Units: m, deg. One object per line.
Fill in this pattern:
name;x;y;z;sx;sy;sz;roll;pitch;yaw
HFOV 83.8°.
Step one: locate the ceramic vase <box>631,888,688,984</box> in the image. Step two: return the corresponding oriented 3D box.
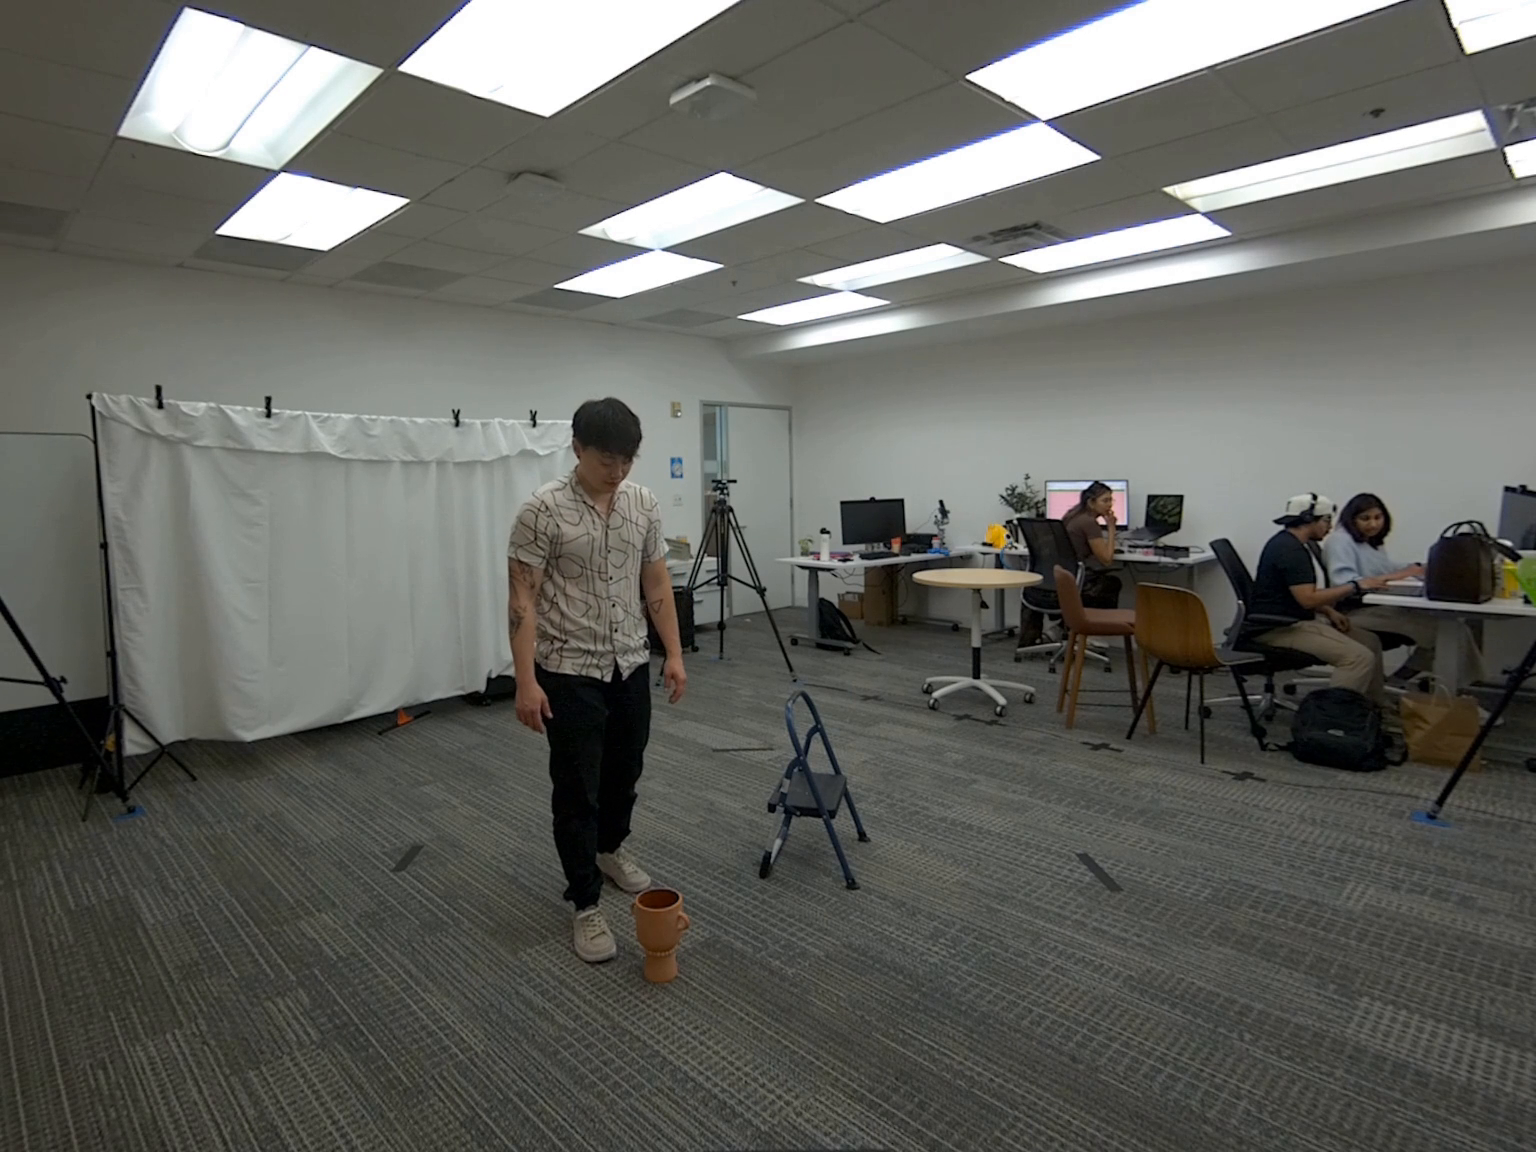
ceramic vase;-0.301;1.020;2.426;0.132;0.219;0.163;-3;5;-24
